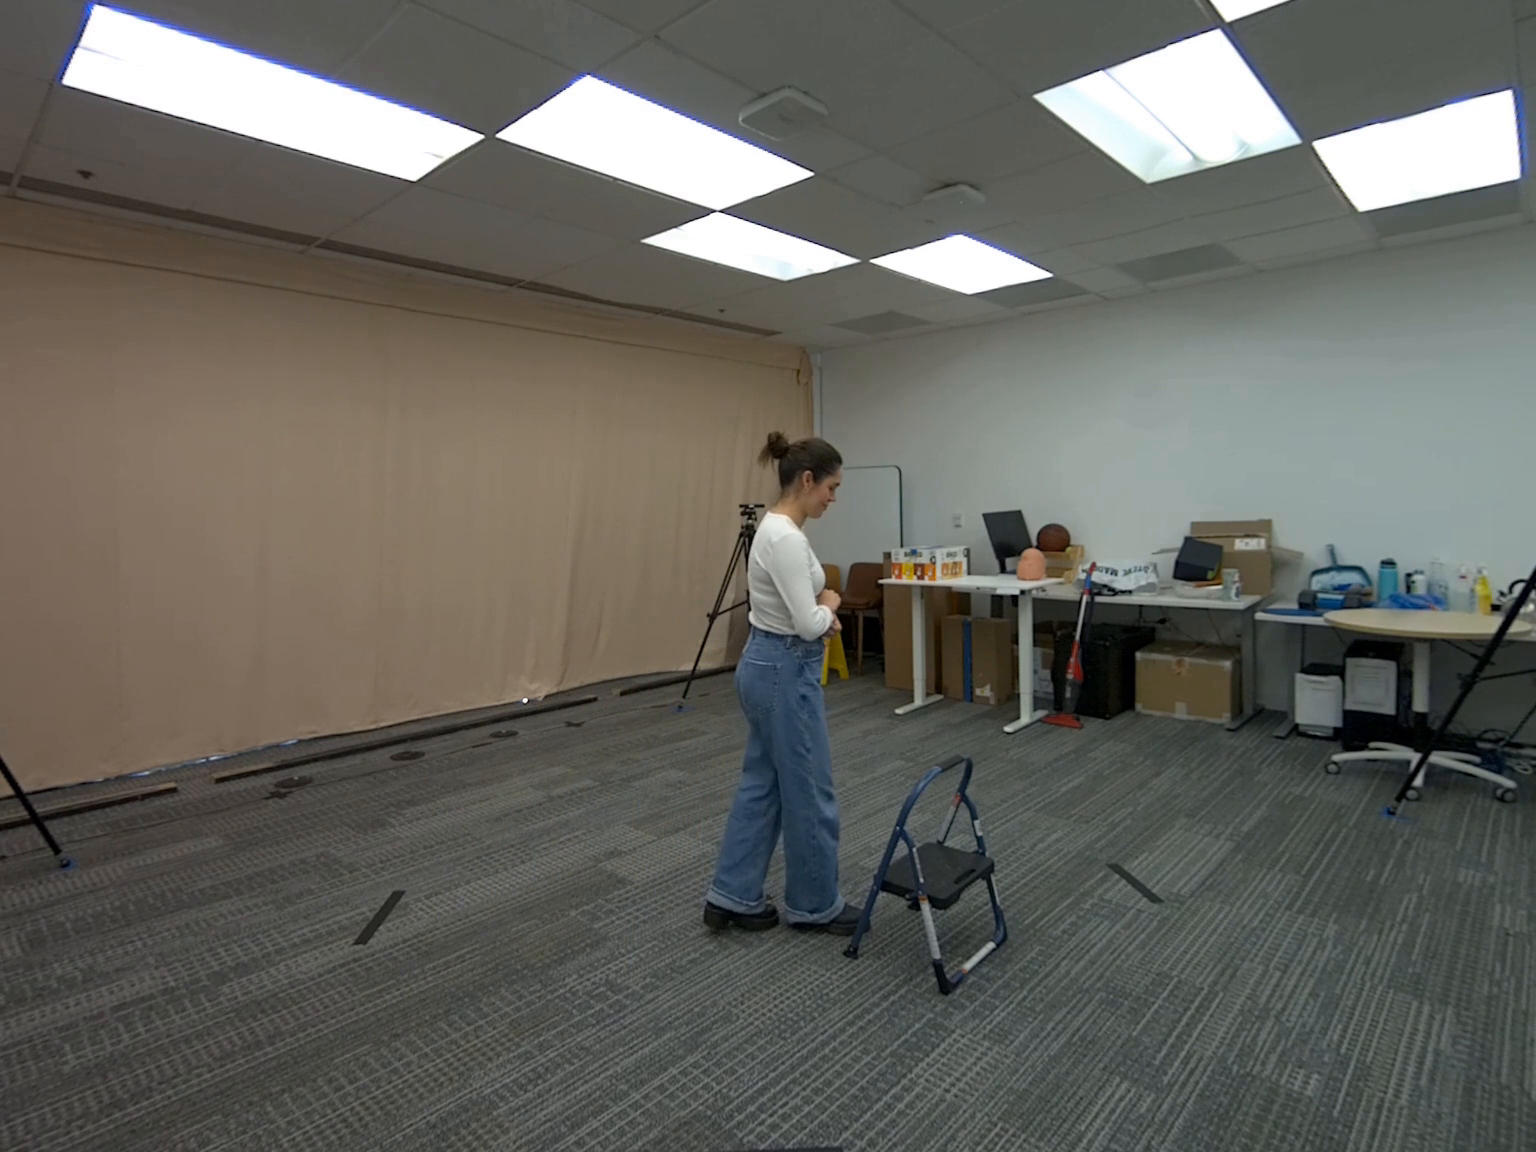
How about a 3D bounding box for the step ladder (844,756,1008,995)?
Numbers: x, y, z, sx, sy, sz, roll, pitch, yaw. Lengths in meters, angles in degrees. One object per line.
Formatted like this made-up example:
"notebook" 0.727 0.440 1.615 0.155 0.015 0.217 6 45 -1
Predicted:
"step ladder" 0.504 0.863 2.614 0.361 0.605 0.418 2 5 40
